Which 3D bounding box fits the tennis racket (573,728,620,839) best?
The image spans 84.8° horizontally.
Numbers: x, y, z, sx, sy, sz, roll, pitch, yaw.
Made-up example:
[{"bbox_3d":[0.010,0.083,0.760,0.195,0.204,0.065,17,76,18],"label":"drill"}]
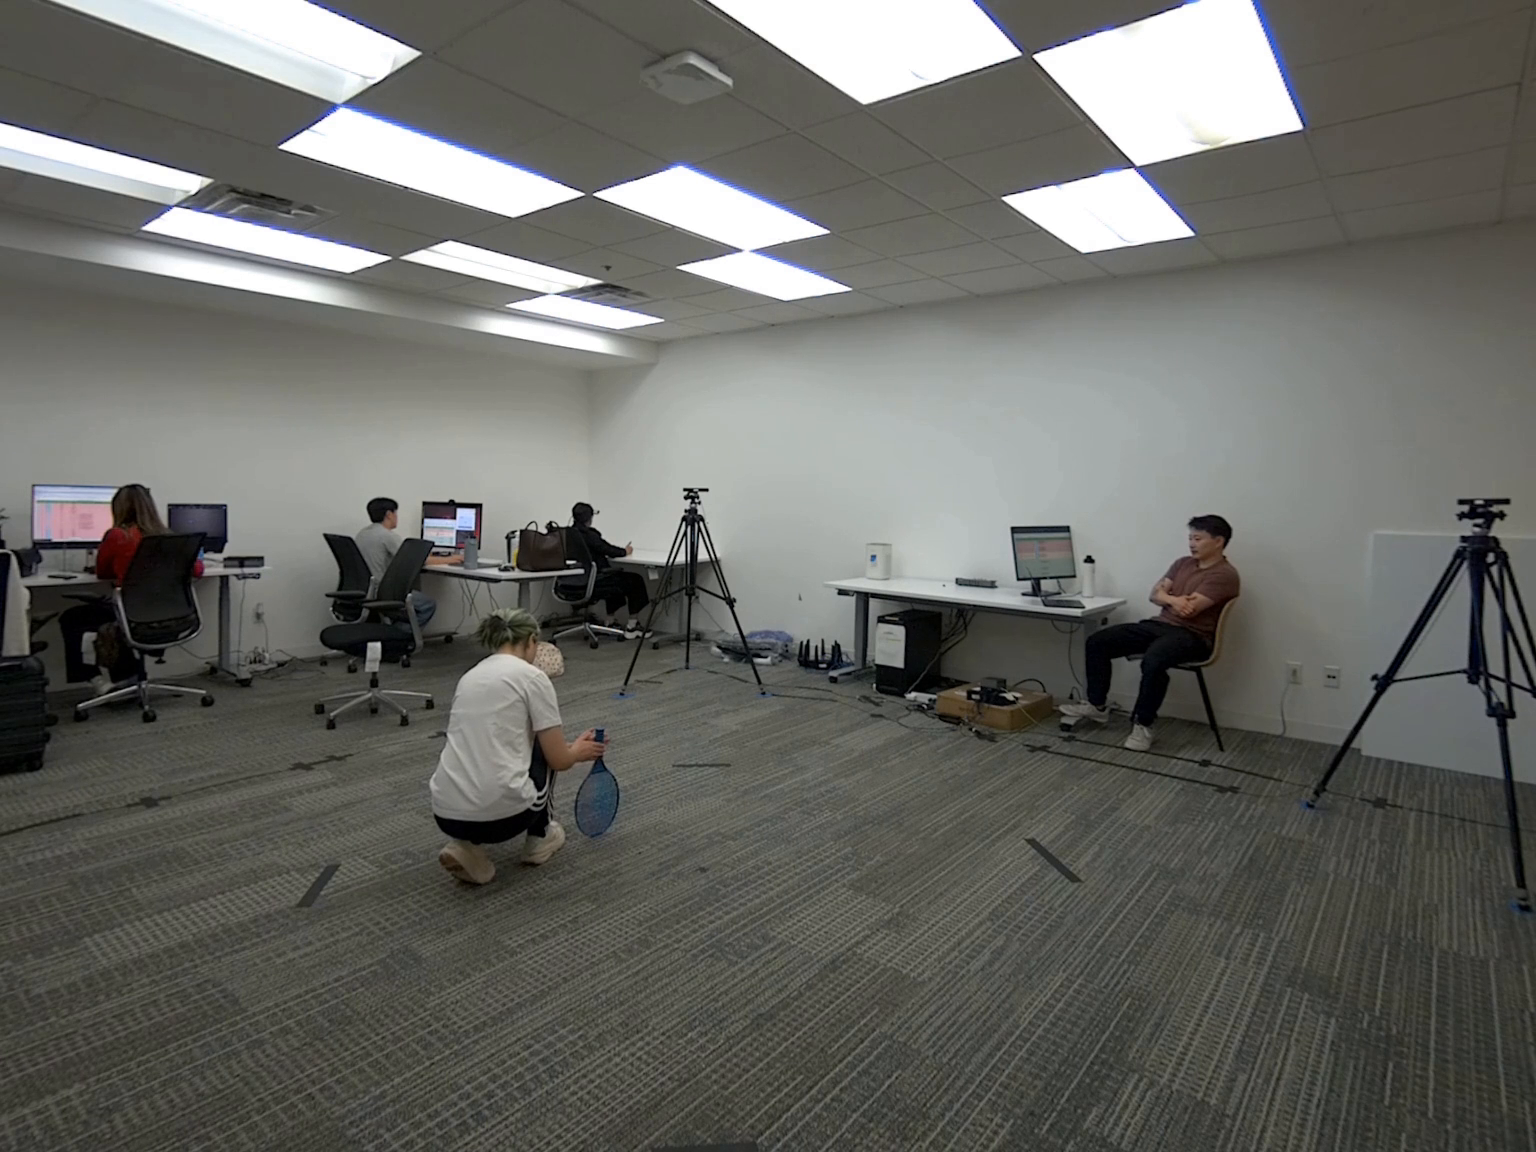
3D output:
[{"bbox_3d":[-0.692,0.820,3.380,0.033,0.431,0.207,4,7,44],"label":"tennis racket"}]
